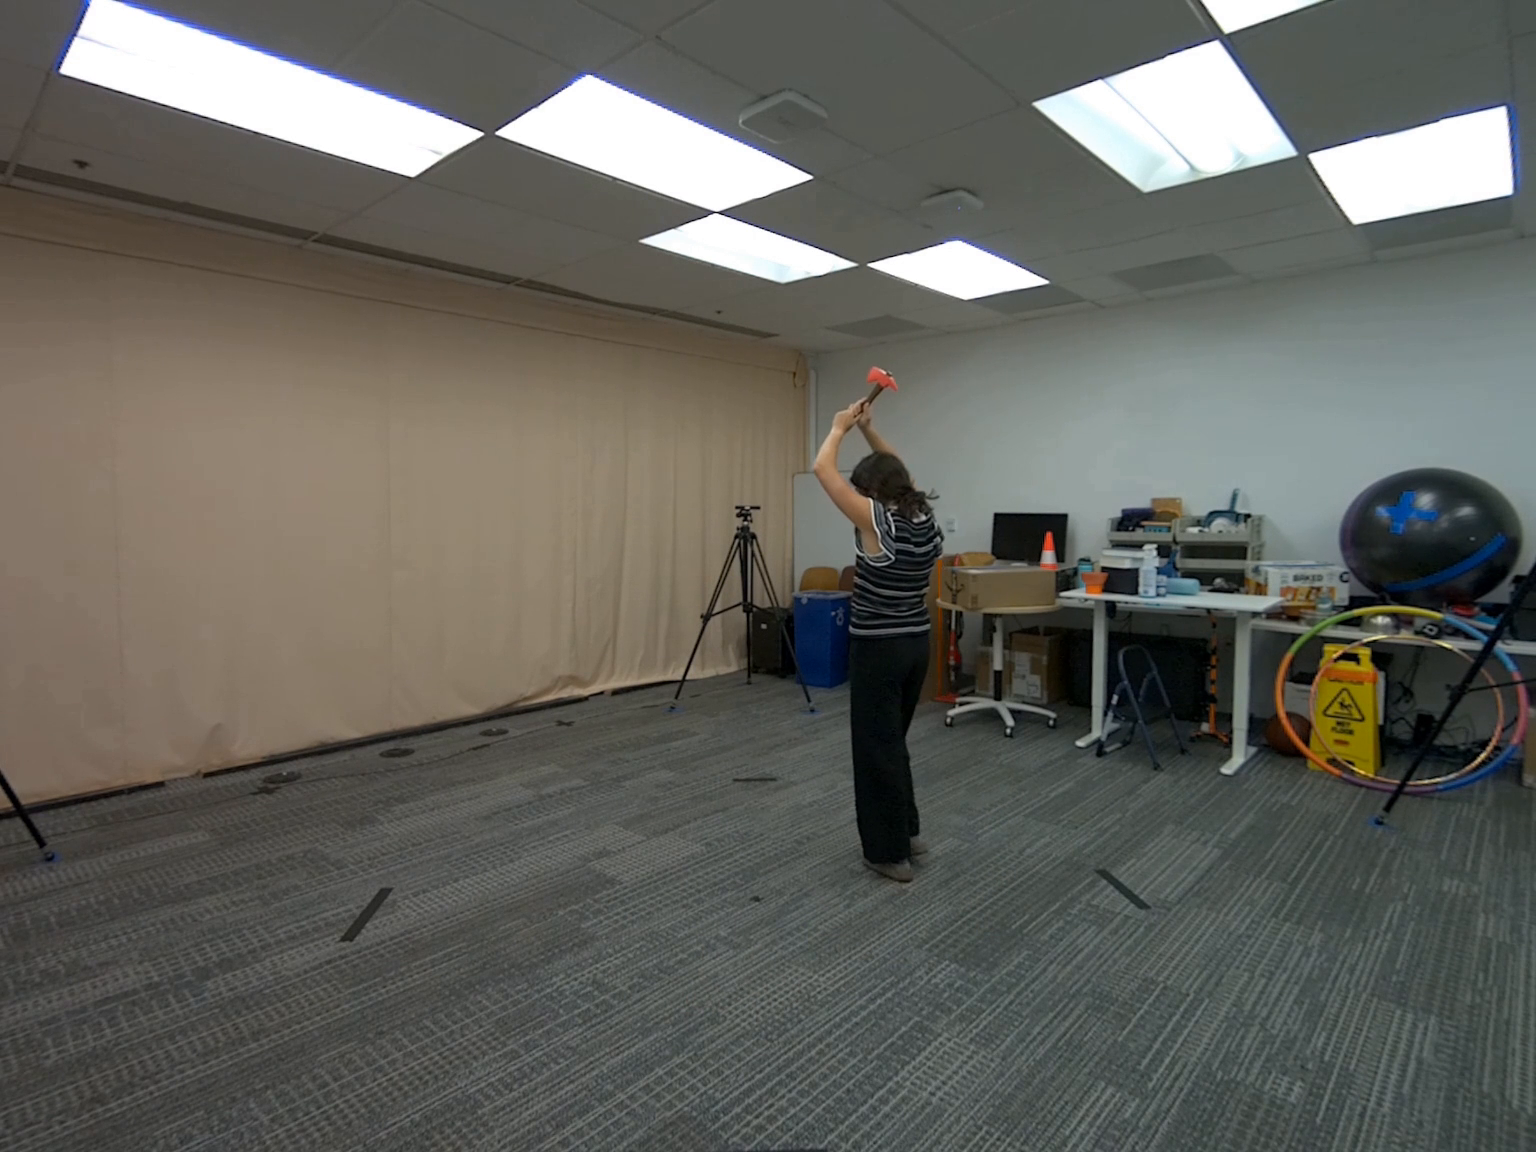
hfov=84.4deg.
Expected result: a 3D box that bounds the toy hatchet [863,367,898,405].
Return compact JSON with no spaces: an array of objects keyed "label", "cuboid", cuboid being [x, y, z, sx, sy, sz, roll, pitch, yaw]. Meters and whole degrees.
[{"label":"toy hatchet","cuboid":[0.366,-0.695,3.211,0.275,0.132,0.029,-28,-8,31]}]
